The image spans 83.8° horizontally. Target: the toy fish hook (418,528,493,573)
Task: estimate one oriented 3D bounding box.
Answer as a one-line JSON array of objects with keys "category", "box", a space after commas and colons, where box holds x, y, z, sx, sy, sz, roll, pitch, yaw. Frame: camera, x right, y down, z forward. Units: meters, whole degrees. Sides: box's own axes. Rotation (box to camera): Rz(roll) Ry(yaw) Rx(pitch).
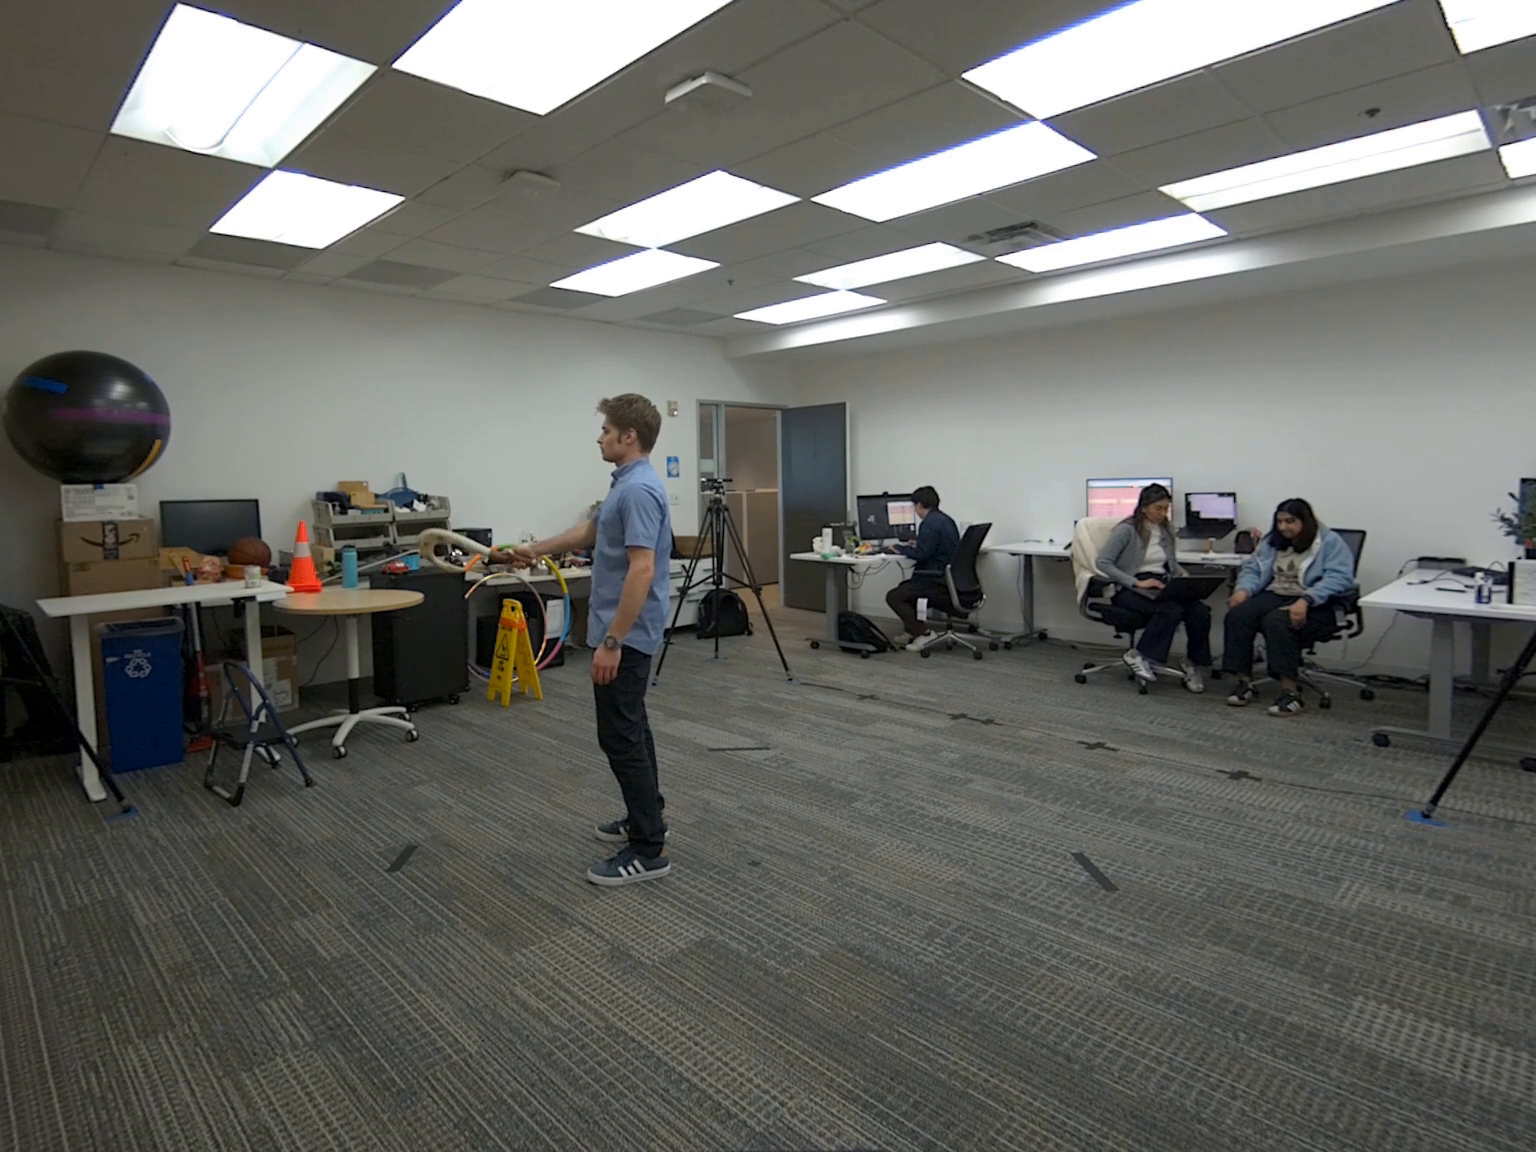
[{"category": "toy fish hook", "box": [-1.202, -0.086, 3.586, 0.506, 0.220, 0.049, 15, 43, -1]}]
